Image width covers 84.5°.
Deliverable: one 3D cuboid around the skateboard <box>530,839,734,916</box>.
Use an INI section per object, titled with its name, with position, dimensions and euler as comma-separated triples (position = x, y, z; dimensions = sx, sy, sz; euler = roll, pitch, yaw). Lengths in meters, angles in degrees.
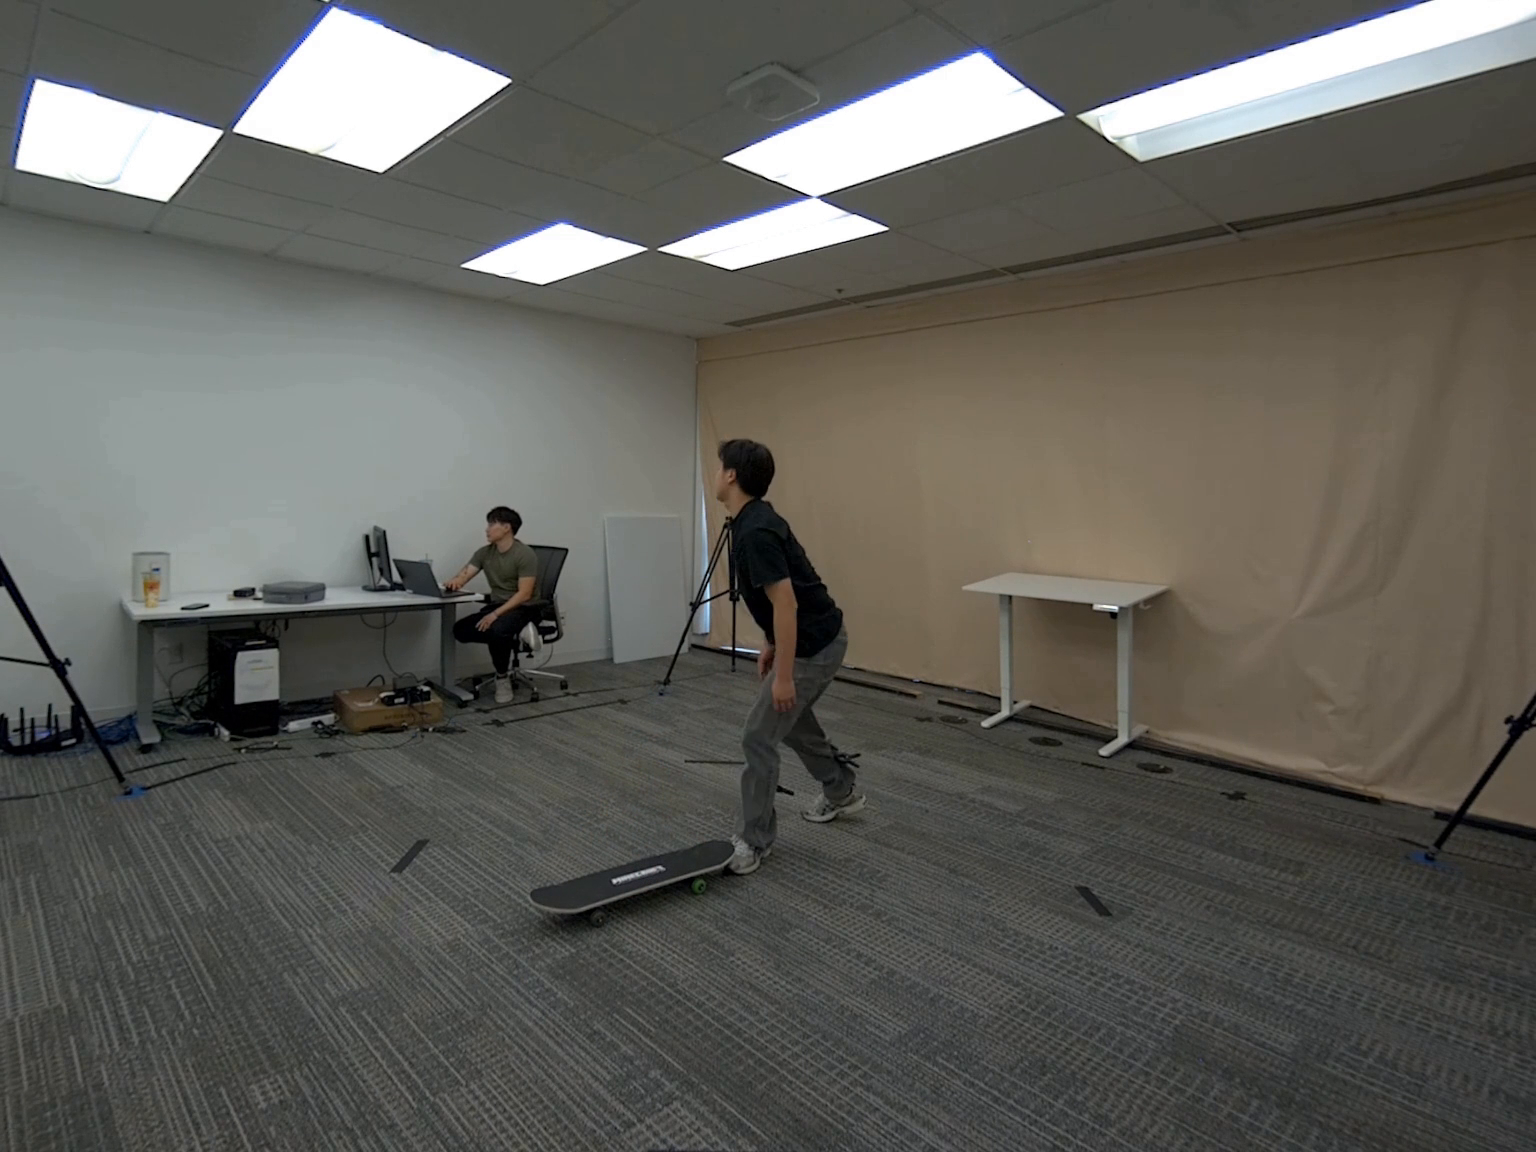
[skateboard]
position = -0.448, 1.061, 2.890
dimensions = 0.768, 0.110, 0.198
euler = -3, 7, -38
